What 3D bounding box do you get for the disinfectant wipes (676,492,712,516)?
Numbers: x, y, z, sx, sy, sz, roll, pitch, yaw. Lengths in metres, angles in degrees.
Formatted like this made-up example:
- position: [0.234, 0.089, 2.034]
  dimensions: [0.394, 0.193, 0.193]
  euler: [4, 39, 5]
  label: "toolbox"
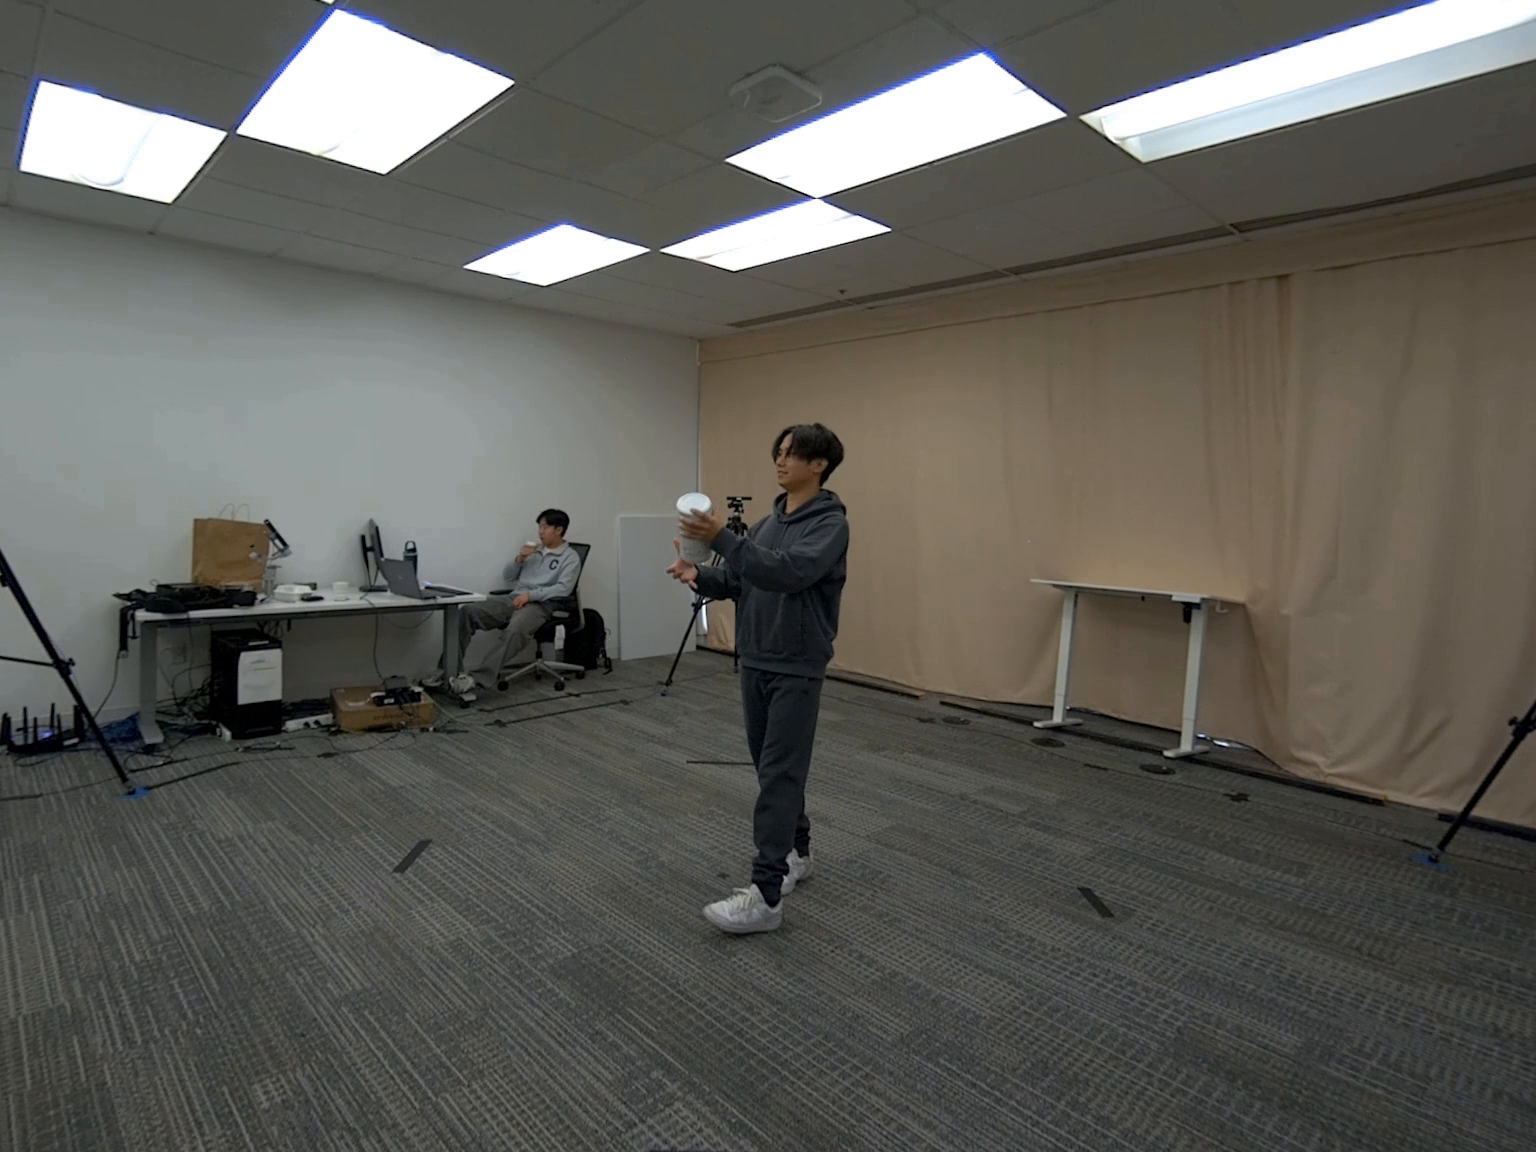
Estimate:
- position: [-0.235, -0.151, 2.690]
  dimensions: [0.118, 0.212, 0.120]
  euler: [-1, 43, 0]
  label: "disinfectant wipes"
